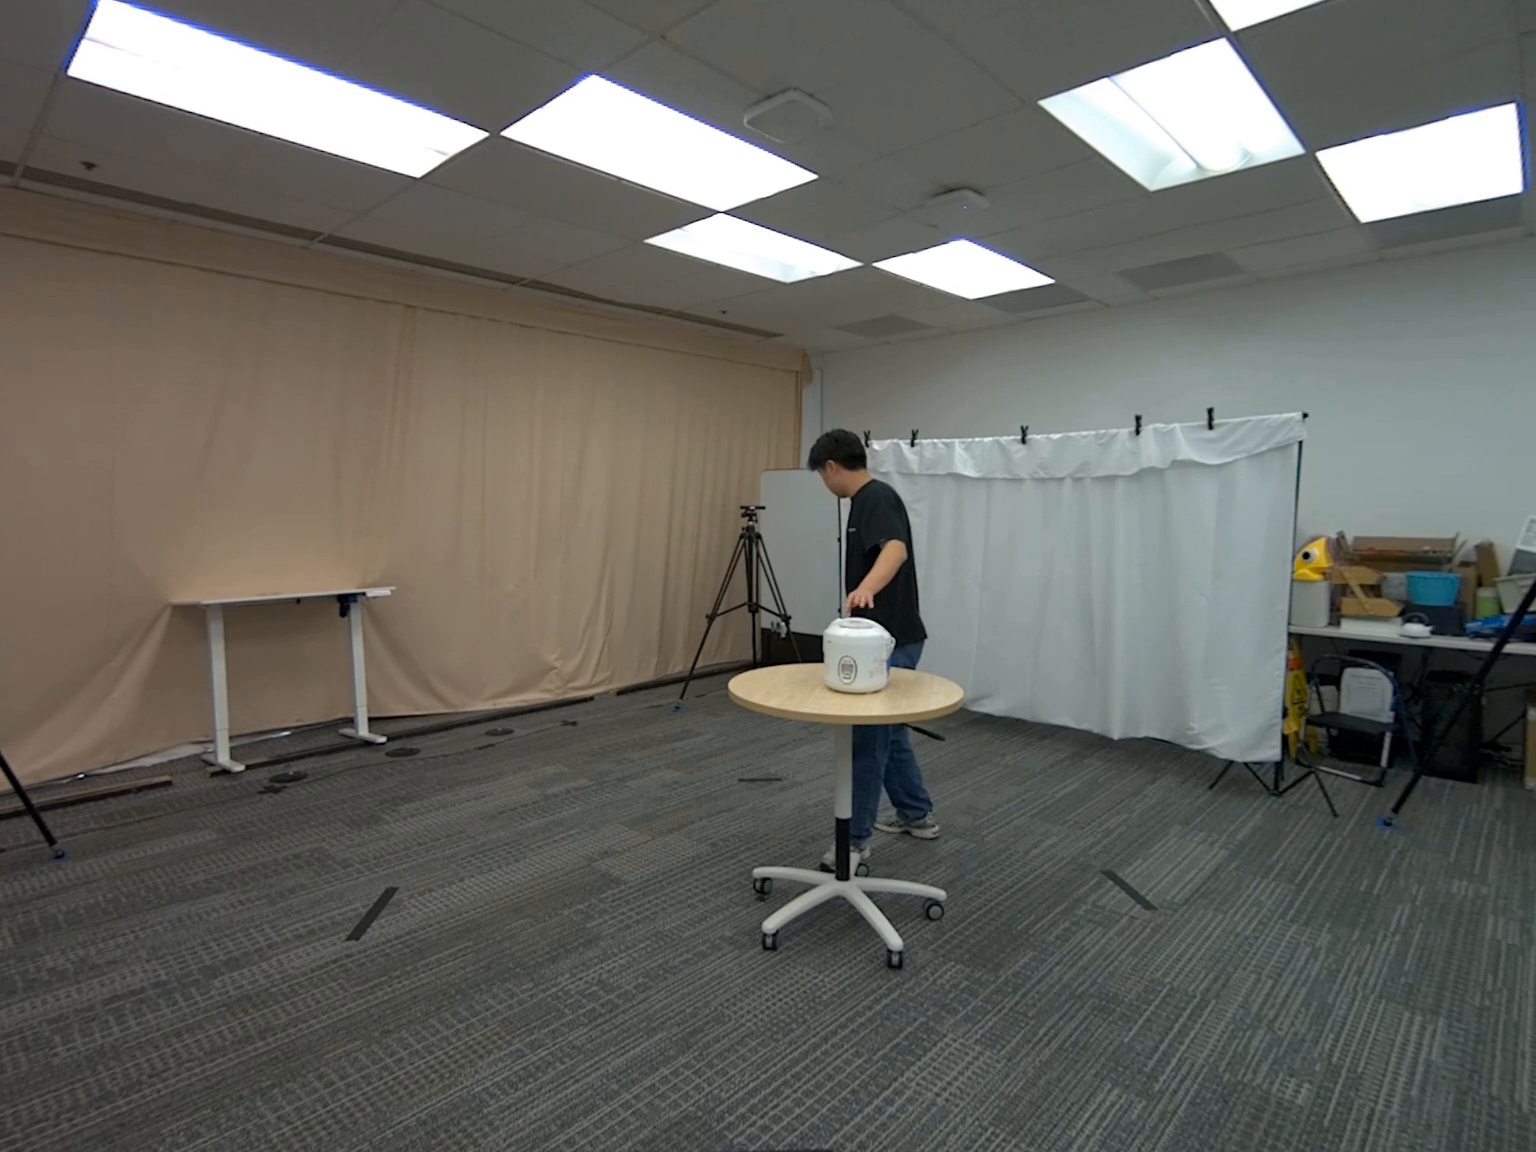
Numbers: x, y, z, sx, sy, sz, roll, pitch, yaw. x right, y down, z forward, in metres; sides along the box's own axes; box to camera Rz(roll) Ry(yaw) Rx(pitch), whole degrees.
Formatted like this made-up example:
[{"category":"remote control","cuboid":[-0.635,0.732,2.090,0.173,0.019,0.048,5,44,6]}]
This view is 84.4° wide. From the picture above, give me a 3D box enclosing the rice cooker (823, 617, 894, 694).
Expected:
[{"category":"rice cooker","cuboid":[0.297,0.251,2.743,0.226,0.232,0.213,2,3,22]}]
